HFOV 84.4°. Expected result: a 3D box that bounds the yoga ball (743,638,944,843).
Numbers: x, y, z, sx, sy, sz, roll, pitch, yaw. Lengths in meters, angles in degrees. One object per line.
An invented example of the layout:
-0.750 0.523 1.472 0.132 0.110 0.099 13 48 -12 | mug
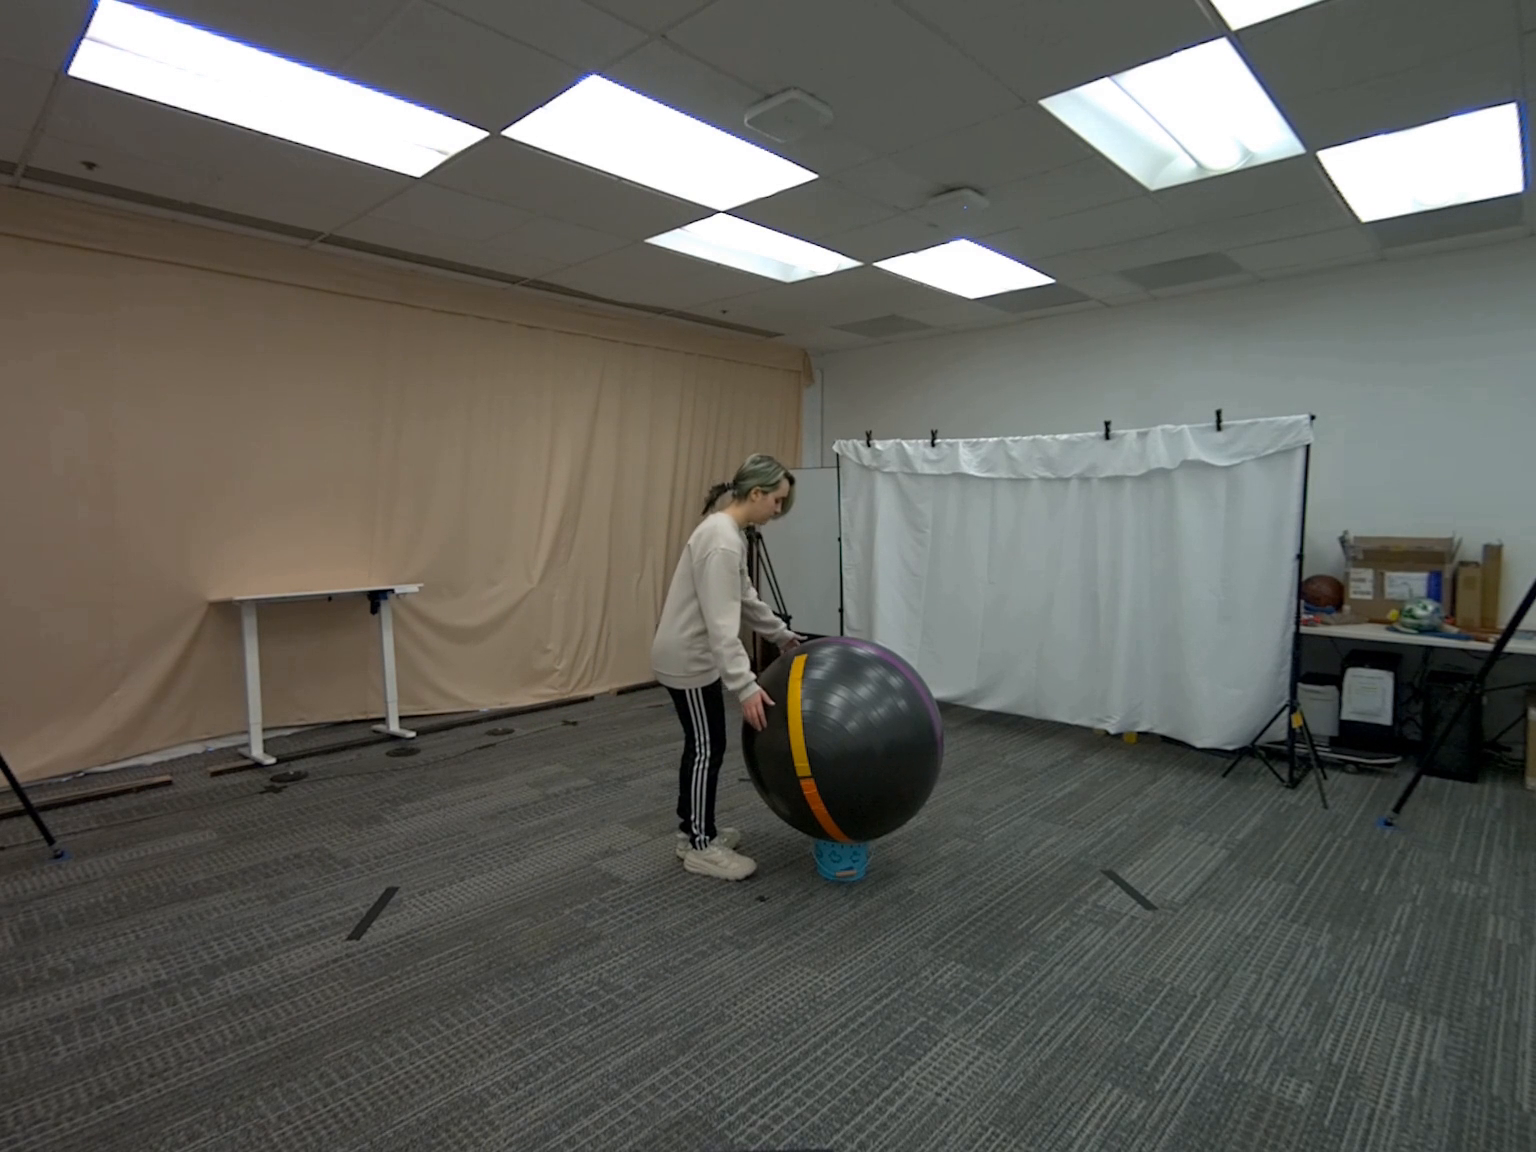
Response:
0.280 0.613 3.188 0.757 0.756 0.761 0 4 -2 | yoga ball
